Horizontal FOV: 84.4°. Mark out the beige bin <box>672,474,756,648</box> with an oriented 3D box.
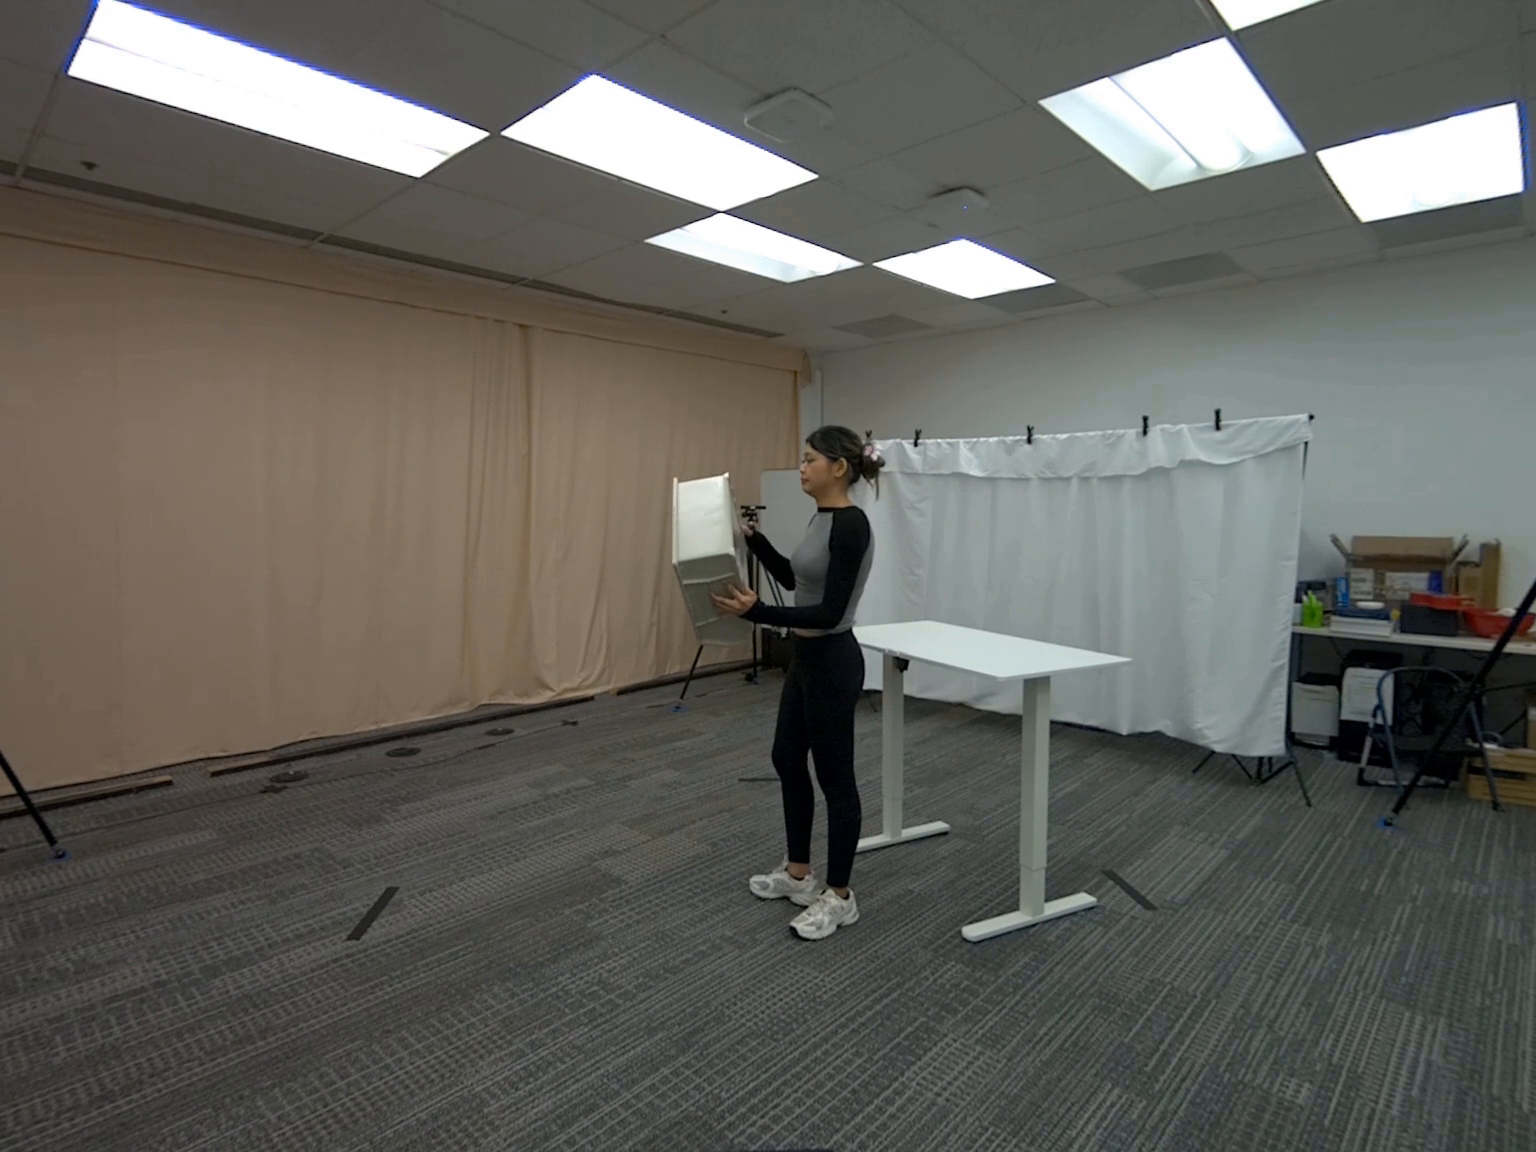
[{"bbox_3d":[-0.166,-0.048,2.649,0.190,0.368,0.431,-11,40,4],"label":"beige bin"}]
